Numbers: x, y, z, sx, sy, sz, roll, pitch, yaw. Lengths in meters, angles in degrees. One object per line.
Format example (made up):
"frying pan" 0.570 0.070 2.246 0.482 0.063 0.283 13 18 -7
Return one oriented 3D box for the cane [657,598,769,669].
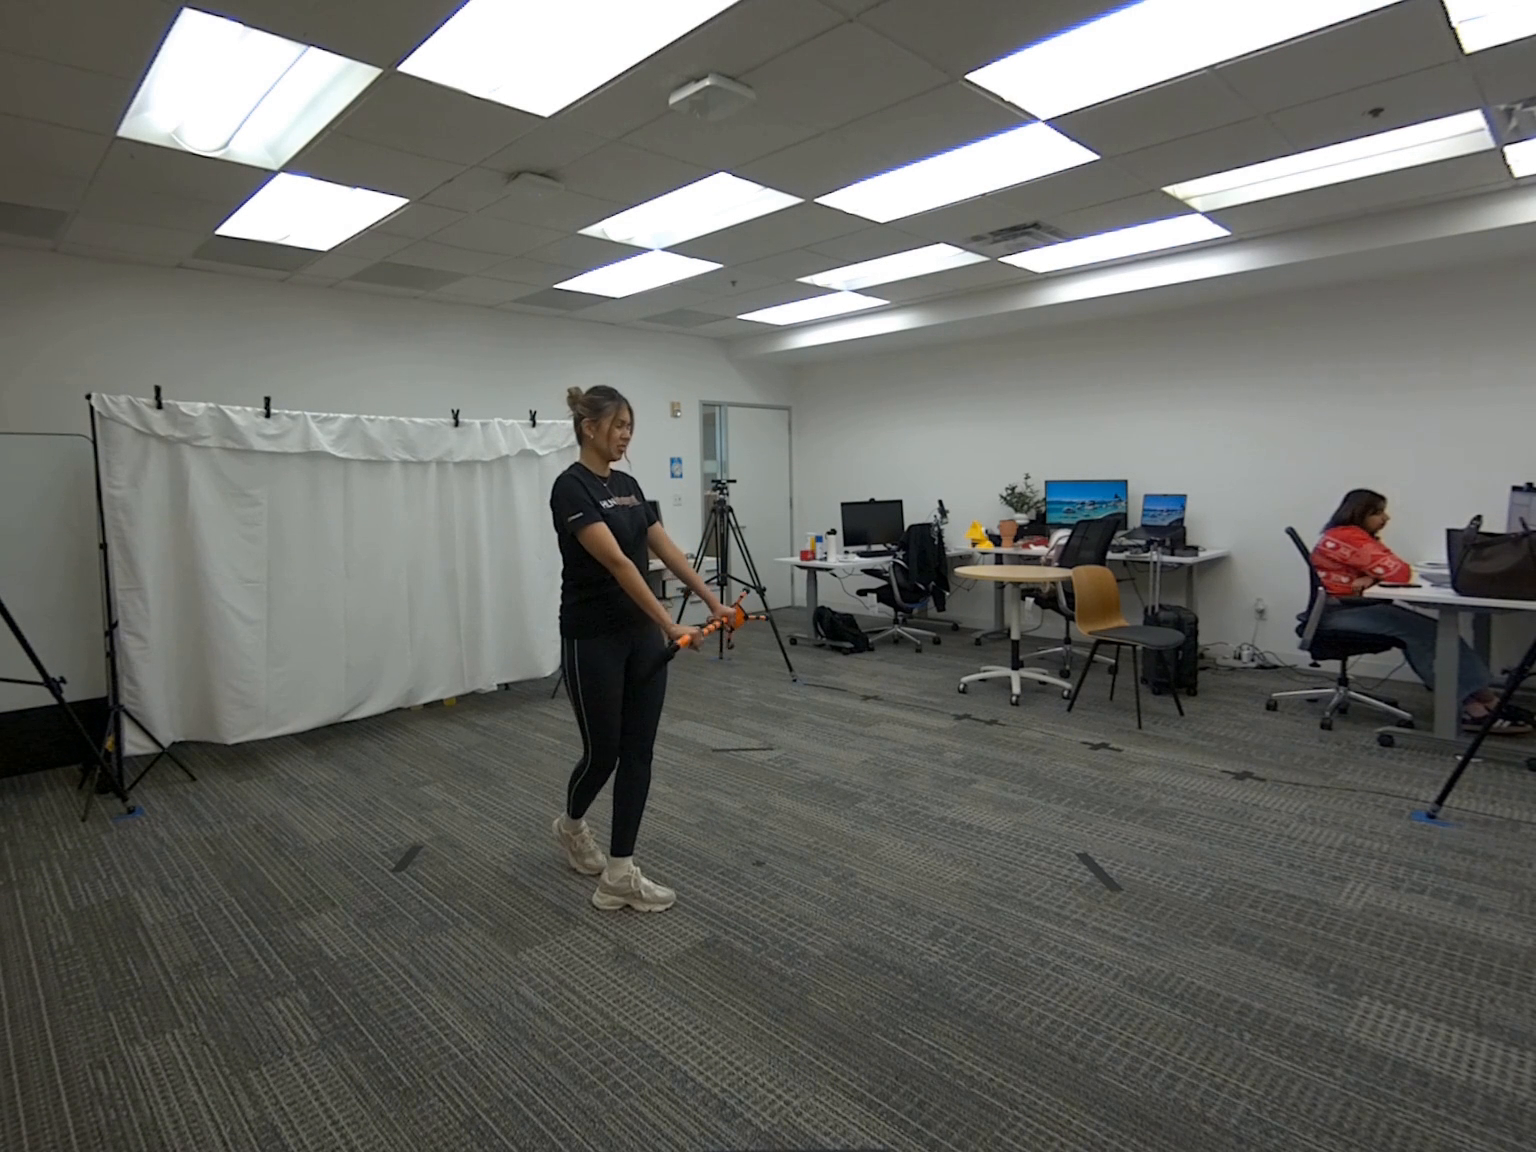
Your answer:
"cane" -0.203 0.197 2.743 0.207 0.153 0.899 -39 -3 11
